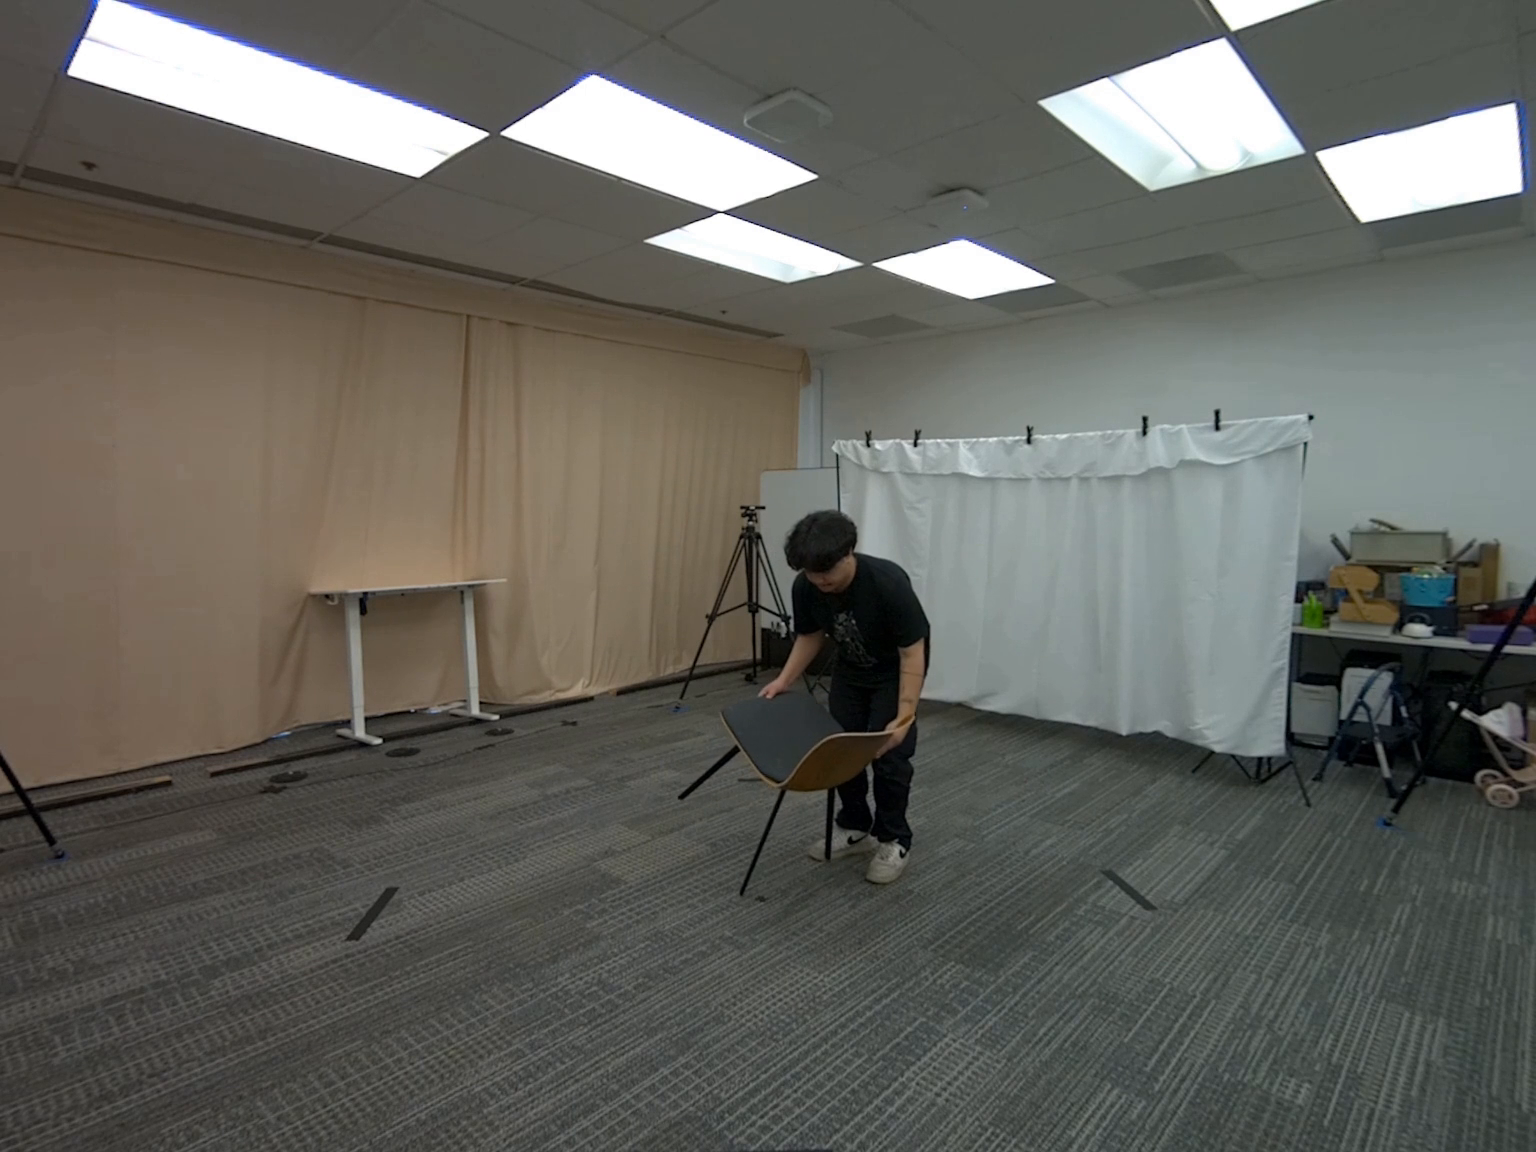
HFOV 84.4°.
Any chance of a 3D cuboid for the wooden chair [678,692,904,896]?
[{"bbox_3d":[0.080,0.646,3.069,0.464,0.875,0.540,-6,45,-40],"label":"wooden chair"}]
